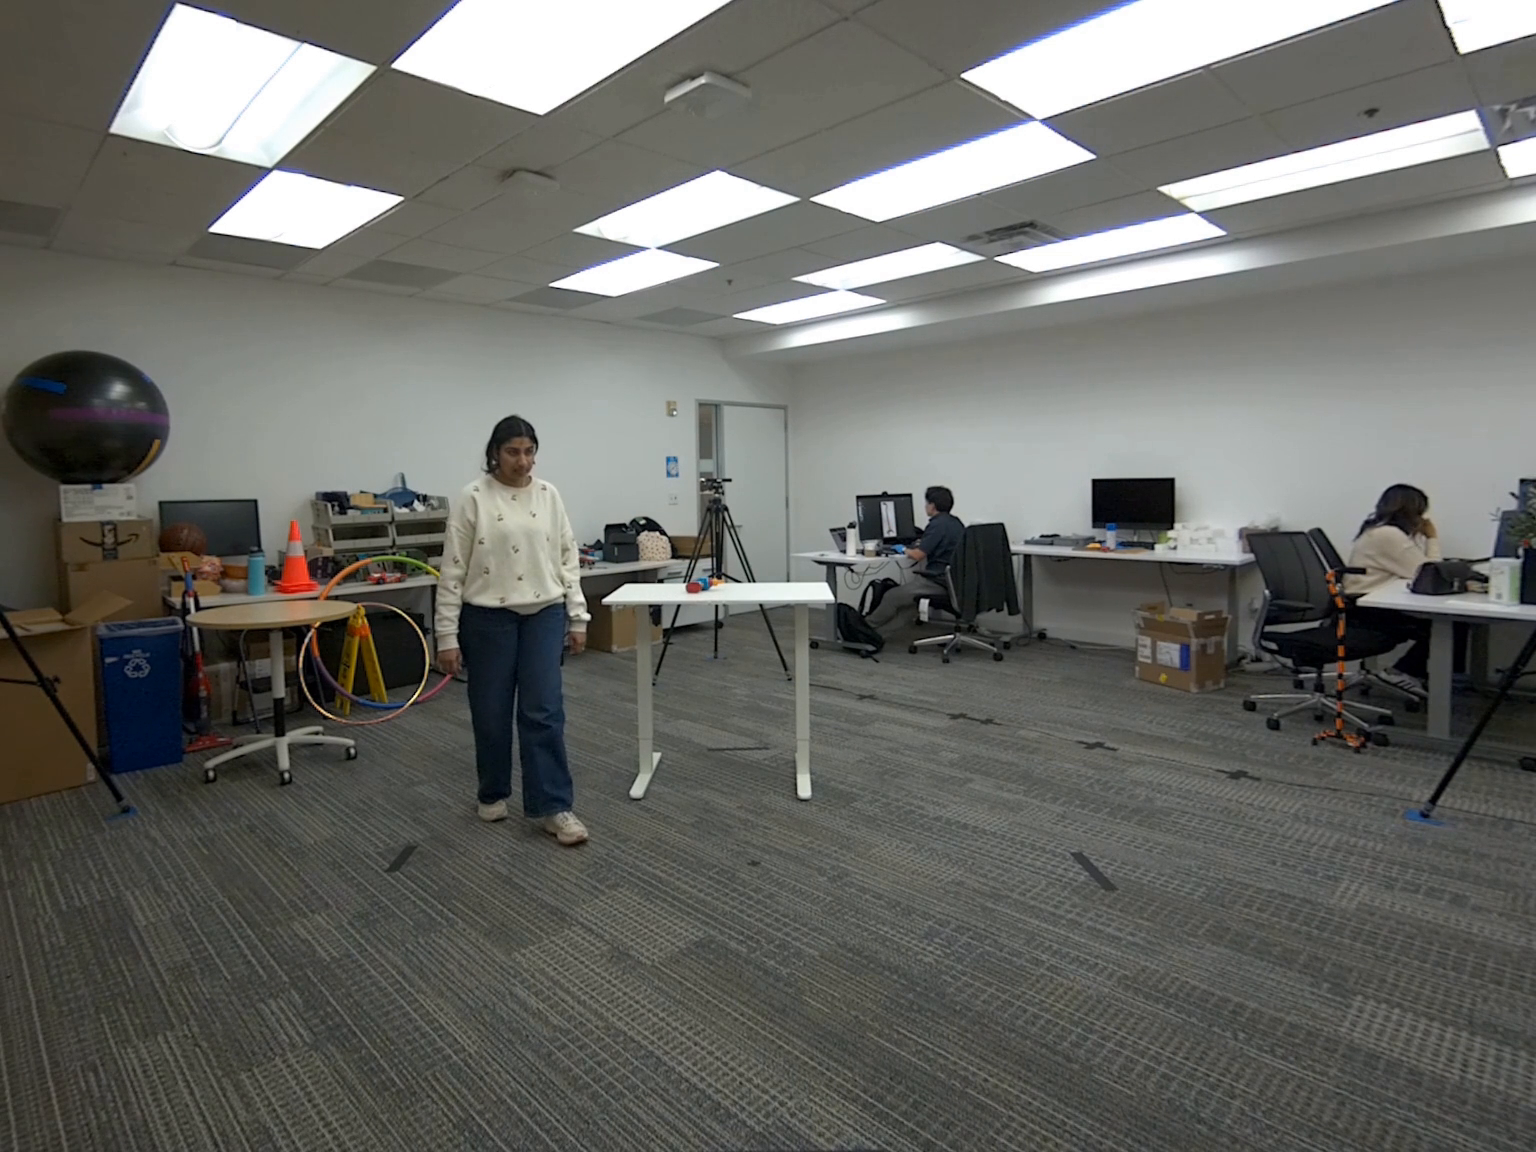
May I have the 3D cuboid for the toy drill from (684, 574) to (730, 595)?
[{"bbox_3d":[-0.281,0.037,3.955,0.172,0.061,0.145,-5,5,13],"label":"toy drill"}]
